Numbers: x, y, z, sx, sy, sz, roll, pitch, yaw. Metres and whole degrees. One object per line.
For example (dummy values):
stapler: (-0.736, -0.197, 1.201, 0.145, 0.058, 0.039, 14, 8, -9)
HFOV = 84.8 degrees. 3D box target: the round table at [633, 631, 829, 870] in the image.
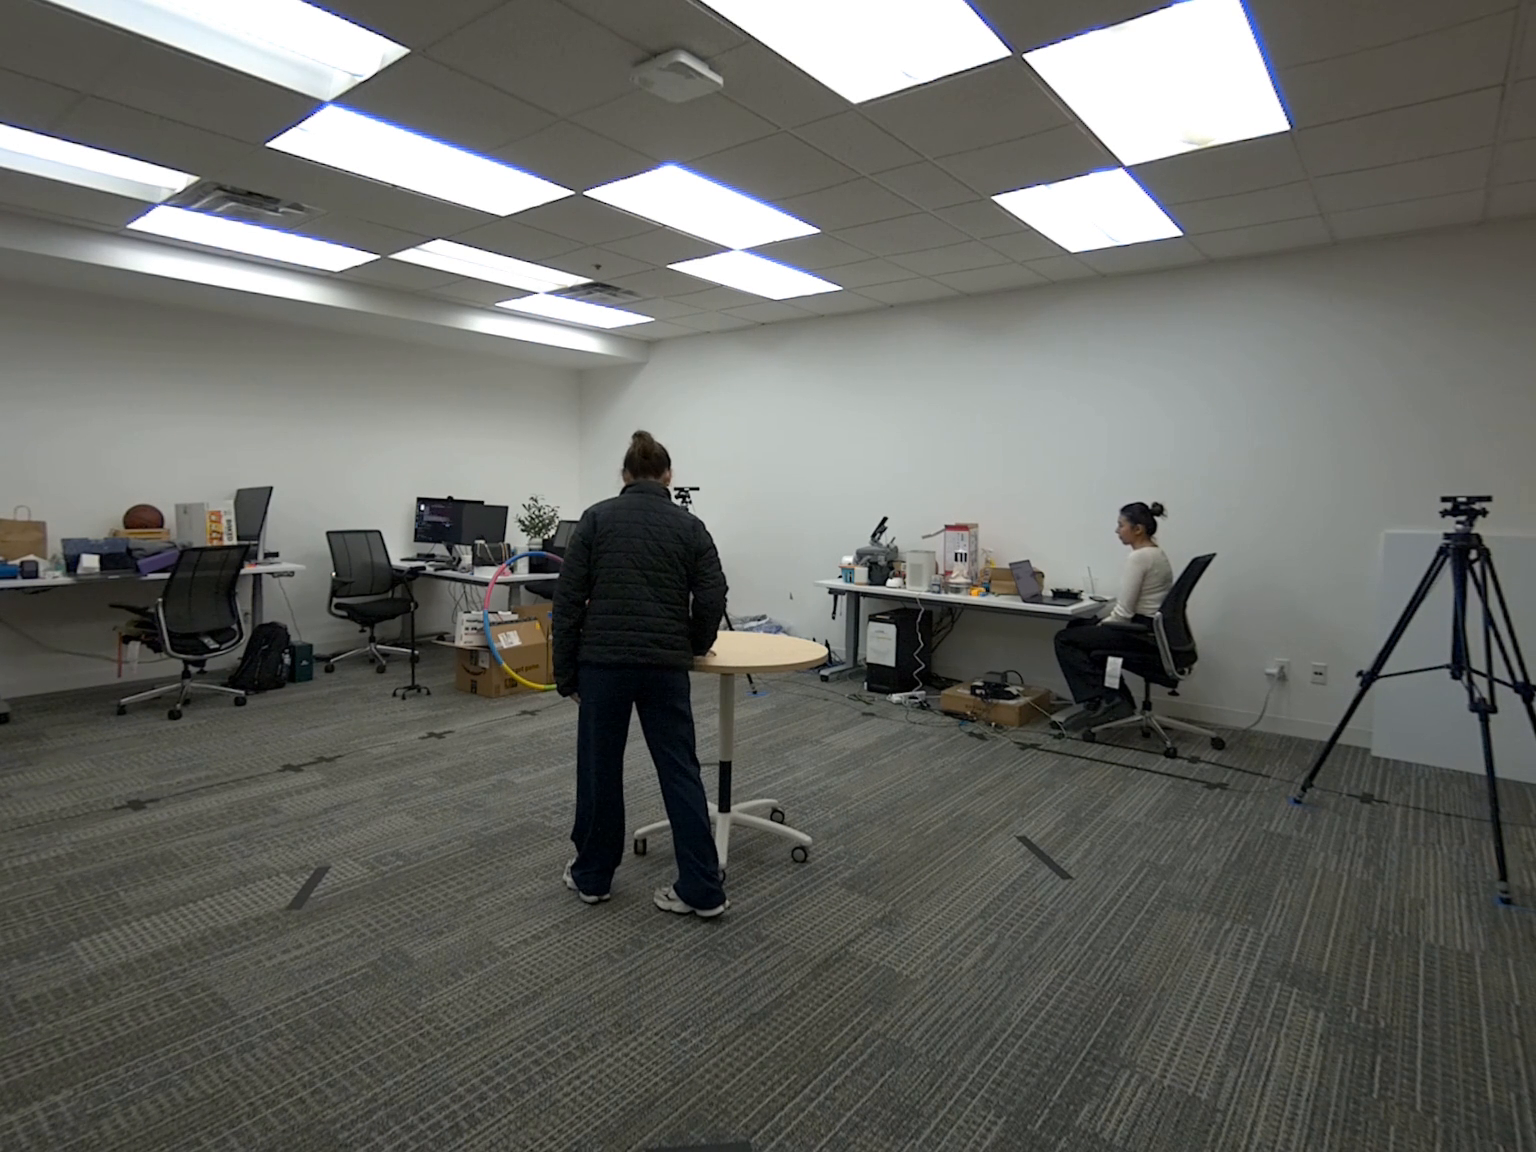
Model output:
round table: (-0.138, 0.656, 3.290, 0.784, 0.784, 0.789, 1, 4, -2)
